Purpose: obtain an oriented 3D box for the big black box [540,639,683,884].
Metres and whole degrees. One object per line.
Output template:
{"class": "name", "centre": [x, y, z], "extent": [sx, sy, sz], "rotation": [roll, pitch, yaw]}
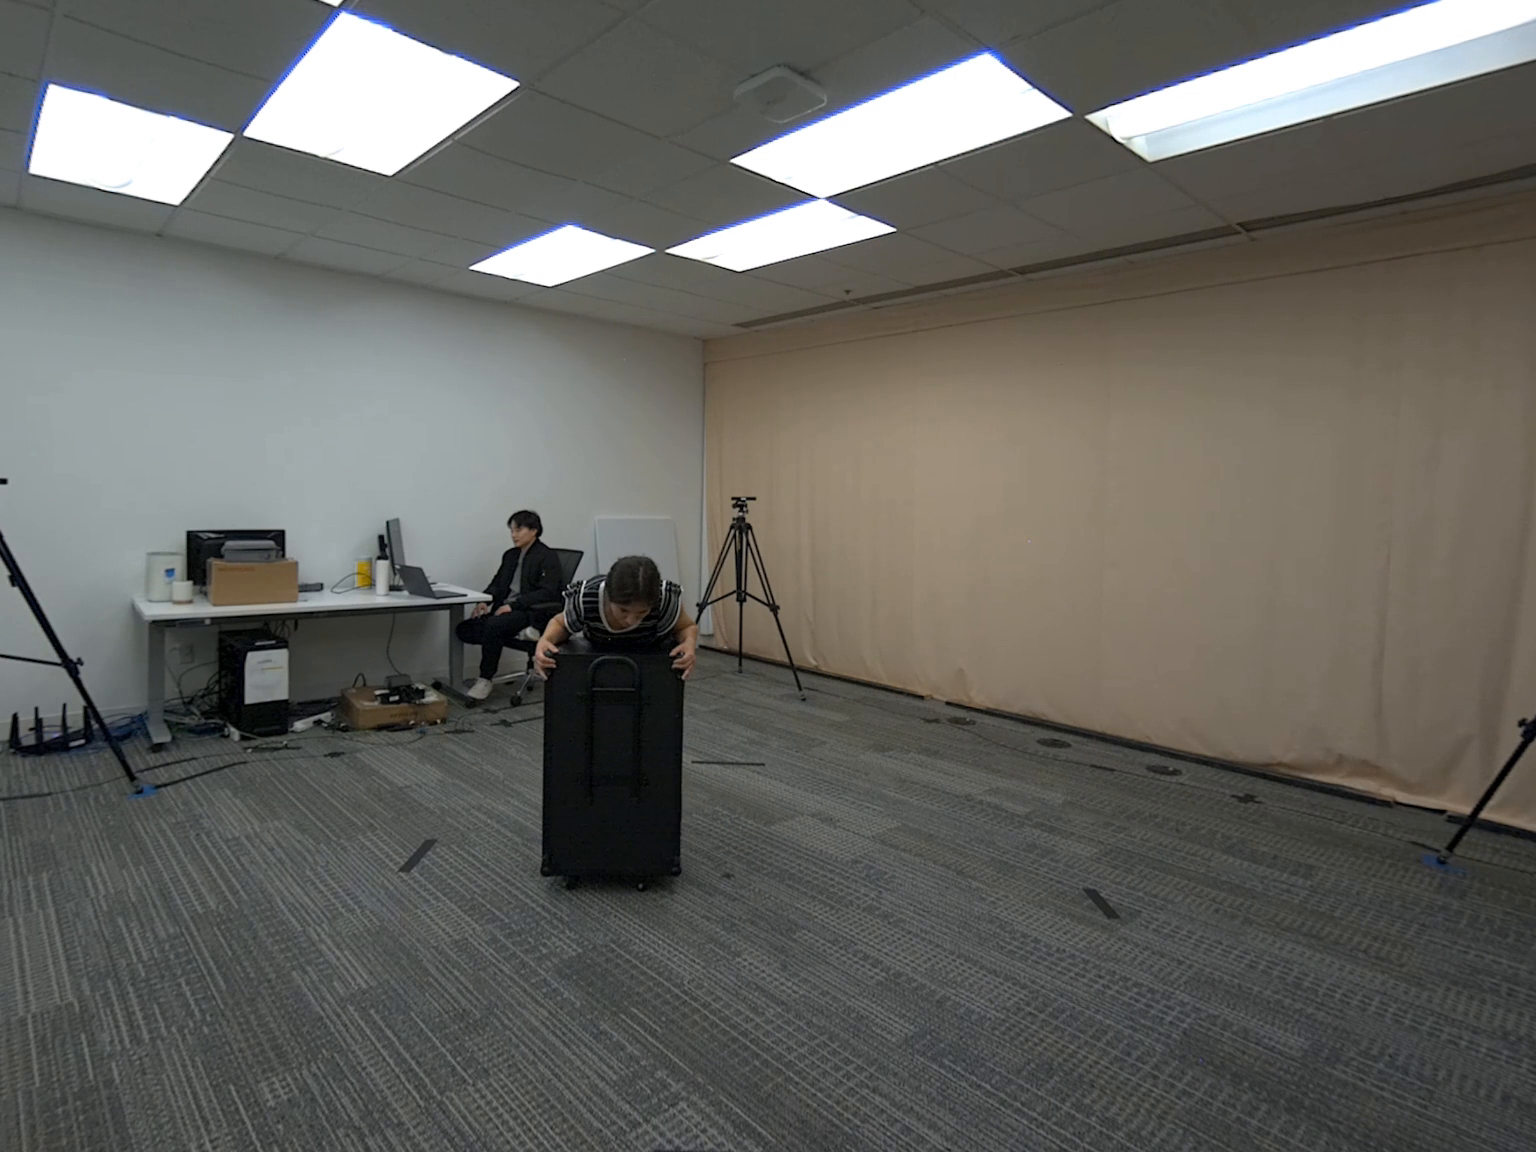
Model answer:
{"class": "big black box", "centre": [-0.553, 0.685, 3.069], "extent": [0.520, 0.859, 0.399], "rotation": [2, 4, -4]}
